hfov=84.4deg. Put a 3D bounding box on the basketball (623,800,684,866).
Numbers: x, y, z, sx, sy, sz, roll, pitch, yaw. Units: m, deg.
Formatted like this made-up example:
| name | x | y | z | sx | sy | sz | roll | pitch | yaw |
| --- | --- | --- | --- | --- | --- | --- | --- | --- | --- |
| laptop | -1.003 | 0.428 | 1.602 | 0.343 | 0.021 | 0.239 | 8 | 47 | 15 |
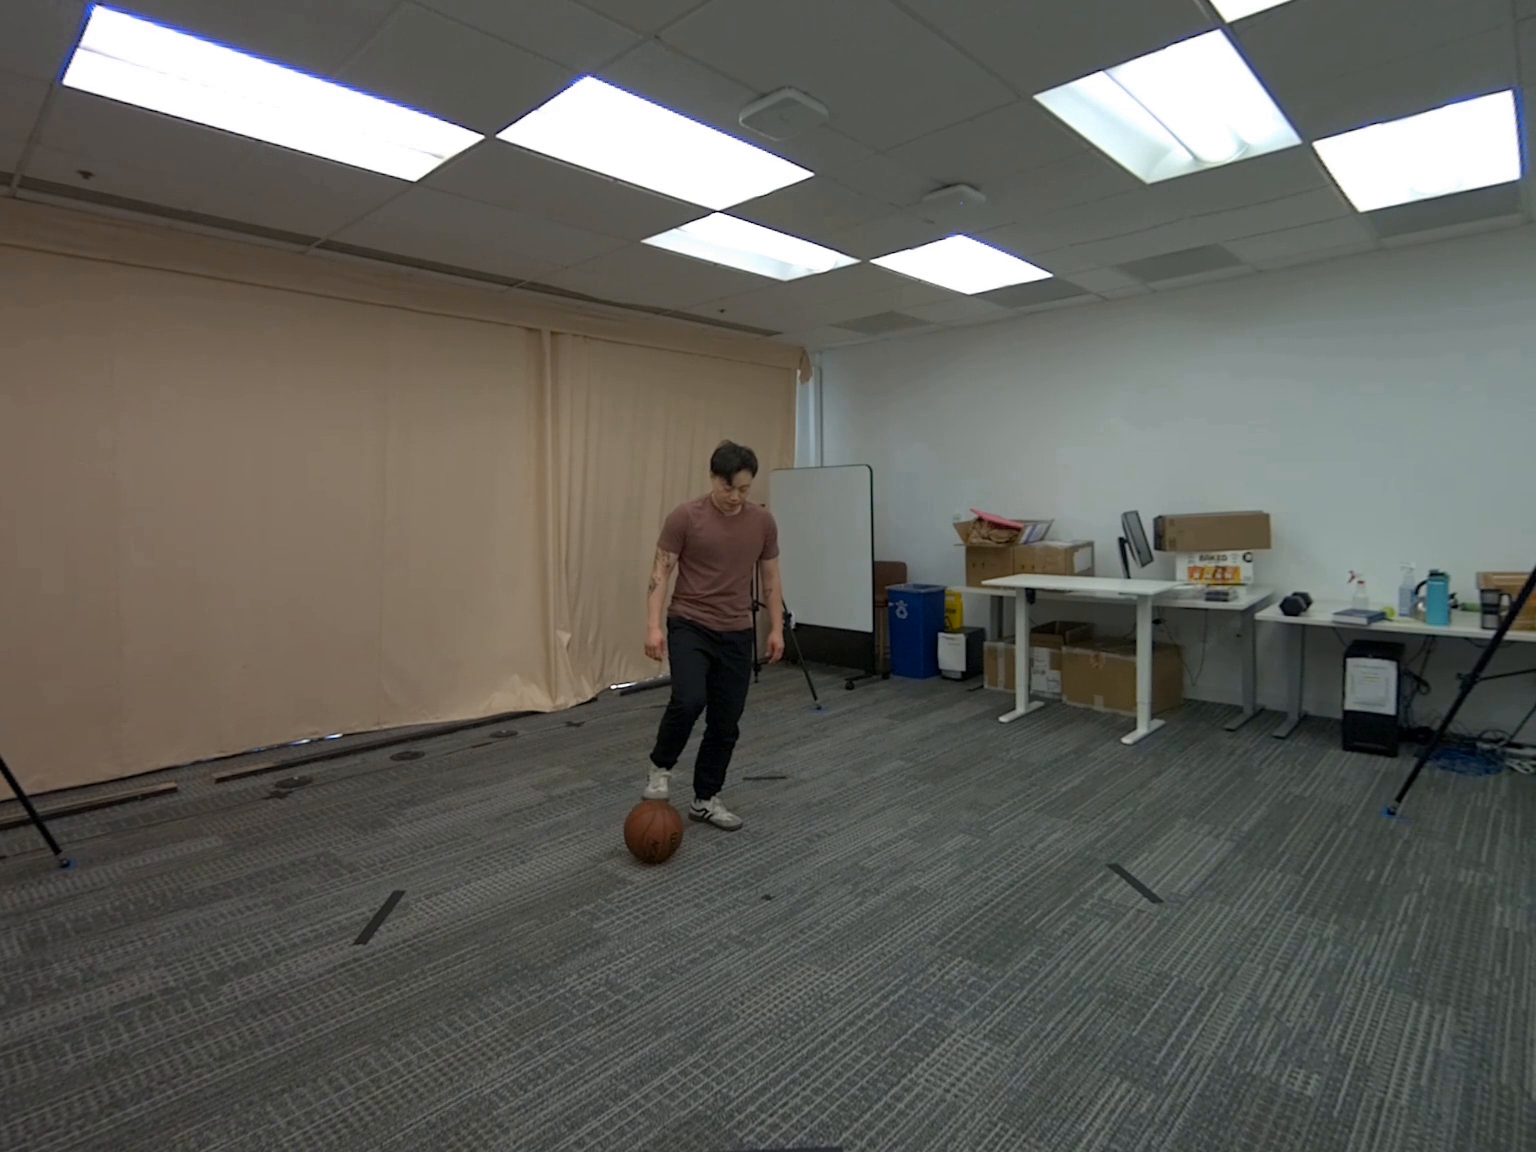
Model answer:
| name | x | y | z | sx | sy | sz | roll | pitch | yaw |
| --- | --- | --- | --- | --- | --- | --- | --- | --- | --- |
| basketball | -0.448 | 0.997 | 3.310 | 0.236 | 0.235 | 0.237 | -1 | 4 | -2 |
